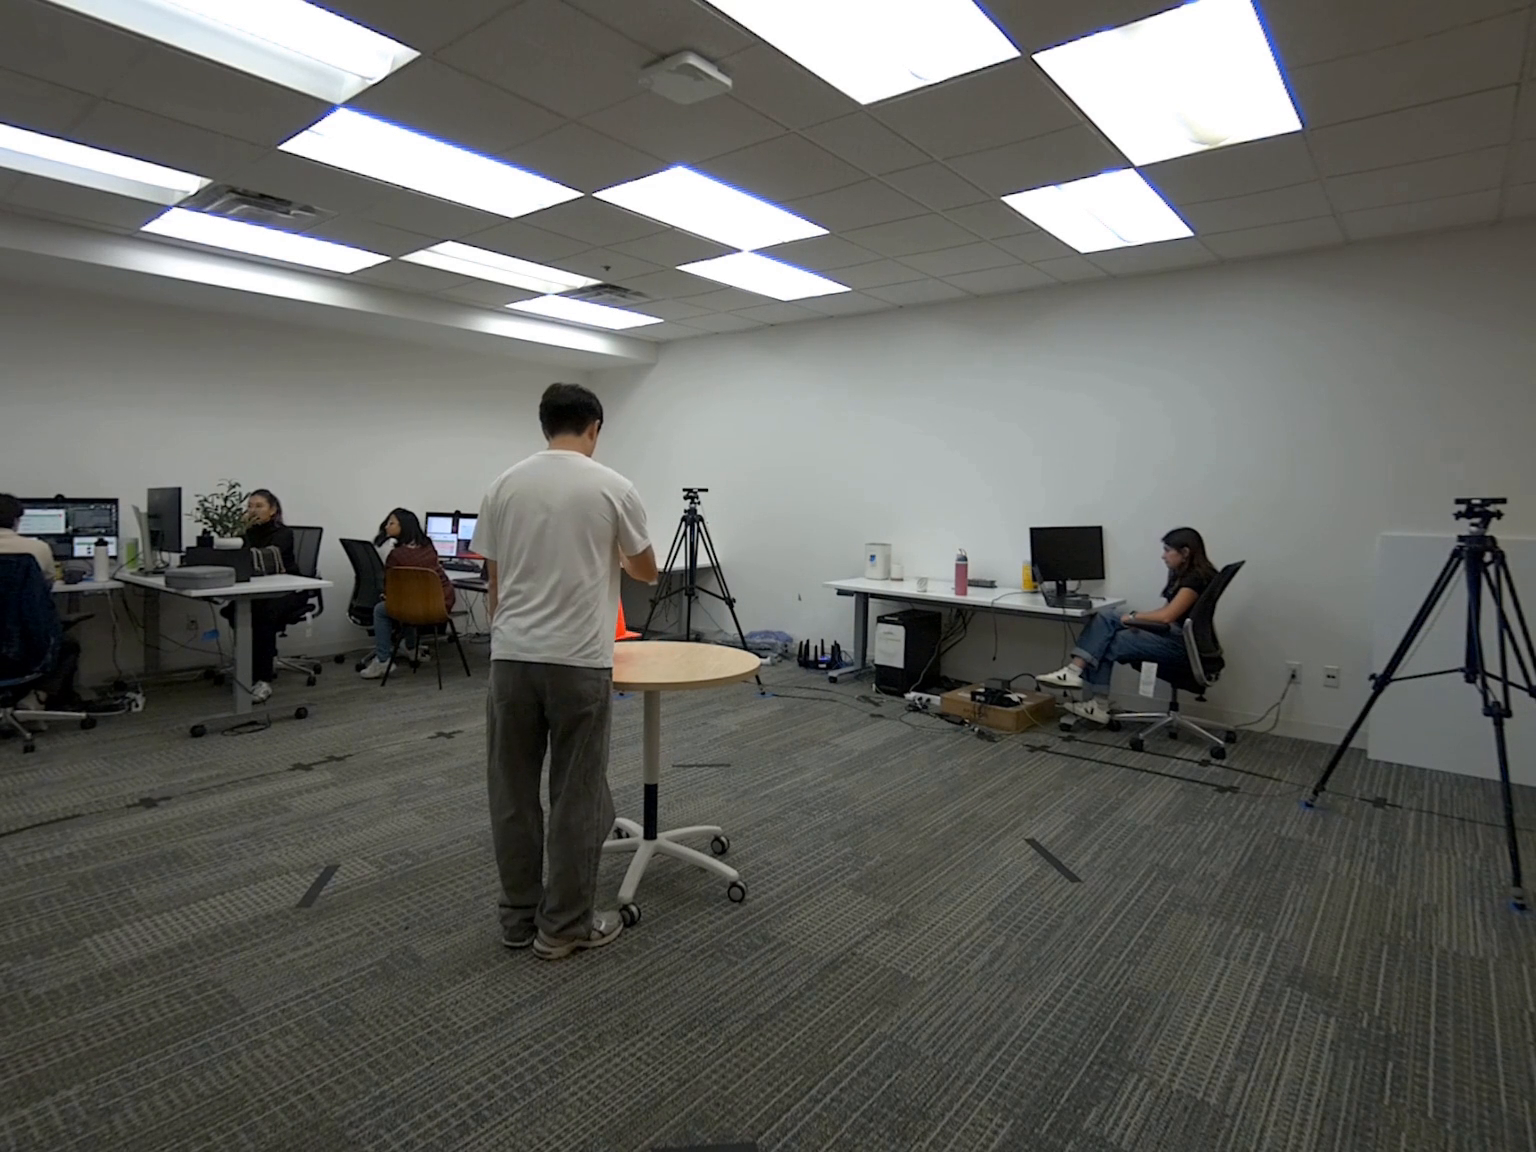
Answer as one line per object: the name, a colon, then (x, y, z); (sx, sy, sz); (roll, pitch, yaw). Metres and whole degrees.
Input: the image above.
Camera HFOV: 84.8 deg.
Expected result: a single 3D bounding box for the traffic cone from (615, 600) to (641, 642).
traffic cone: (-0.572, 0.022, 3.037); (0.210, 0.382, 0.198); (4, 4, 26)
